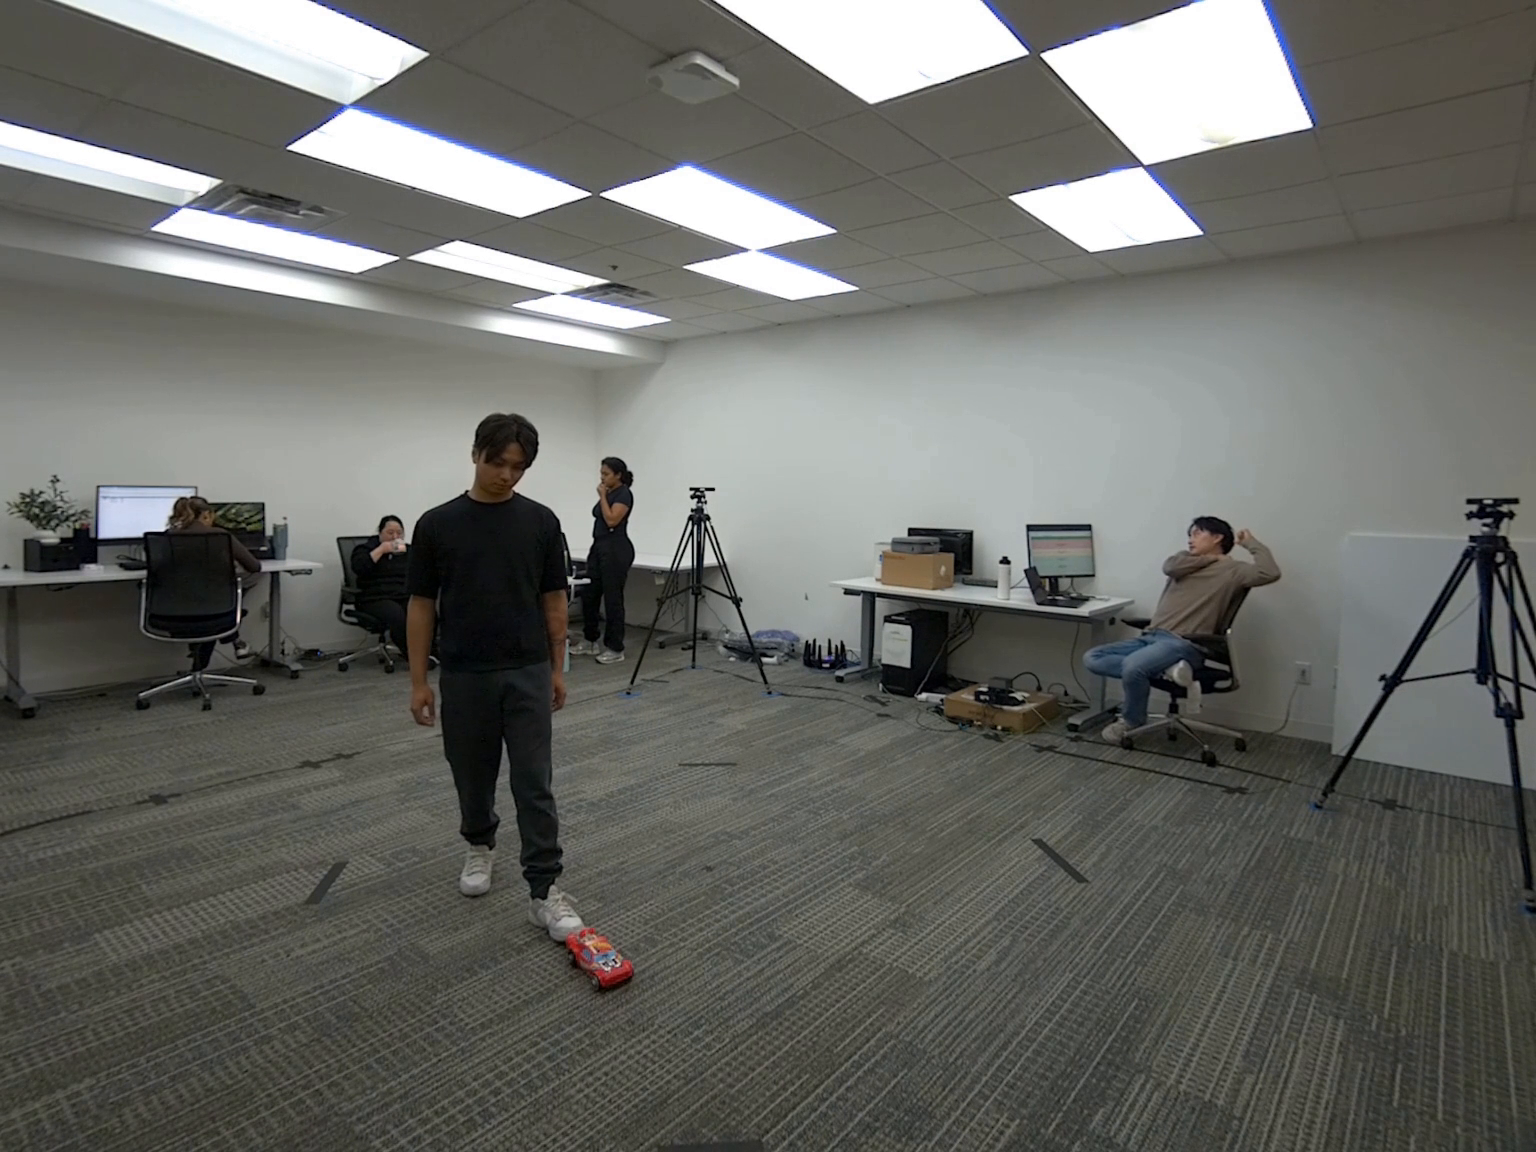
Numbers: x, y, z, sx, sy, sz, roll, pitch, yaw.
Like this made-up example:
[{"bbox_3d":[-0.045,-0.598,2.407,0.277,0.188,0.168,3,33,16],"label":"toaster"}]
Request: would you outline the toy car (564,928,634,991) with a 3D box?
[{"bbox_3d":[-0.506,1.093,2.448,0.126,0.082,0.265,-4,18,-37],"label":"toy car"}]
